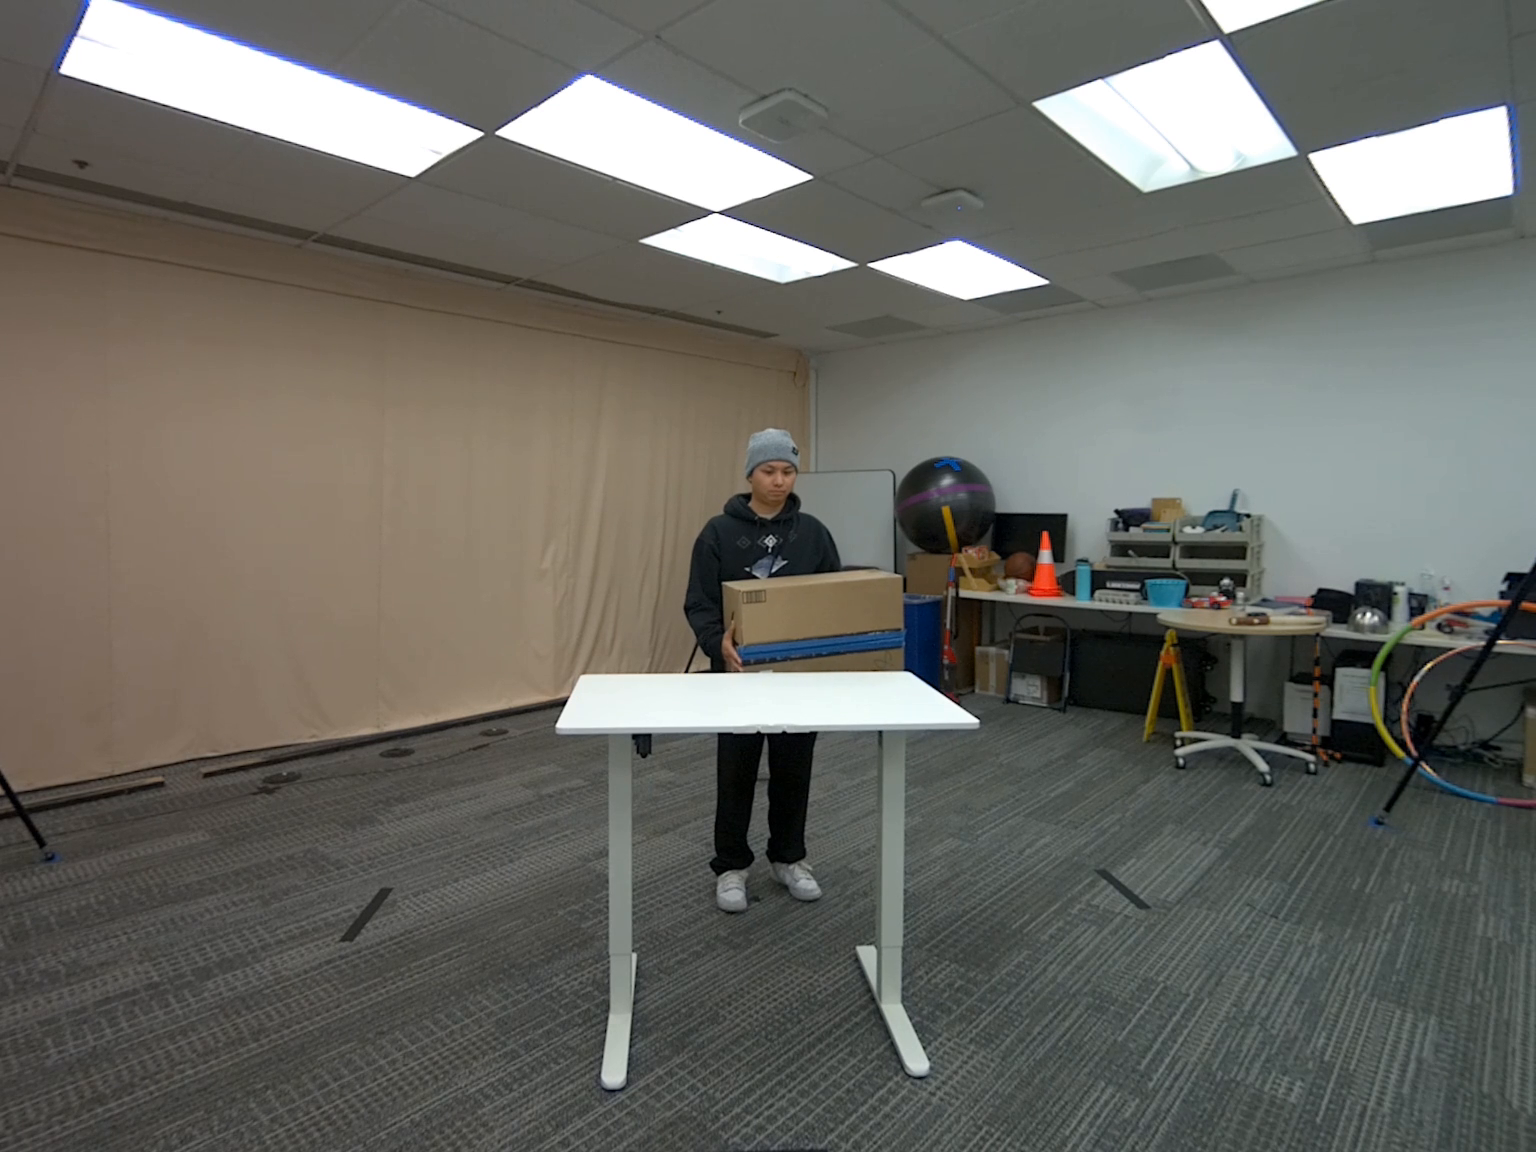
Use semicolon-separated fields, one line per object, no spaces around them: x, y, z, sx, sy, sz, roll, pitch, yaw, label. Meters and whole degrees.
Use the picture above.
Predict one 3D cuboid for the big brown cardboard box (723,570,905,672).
0.146;0.213;2.814;0.580;0.416;0.238;-5;6;-15;big brown cardboard box
